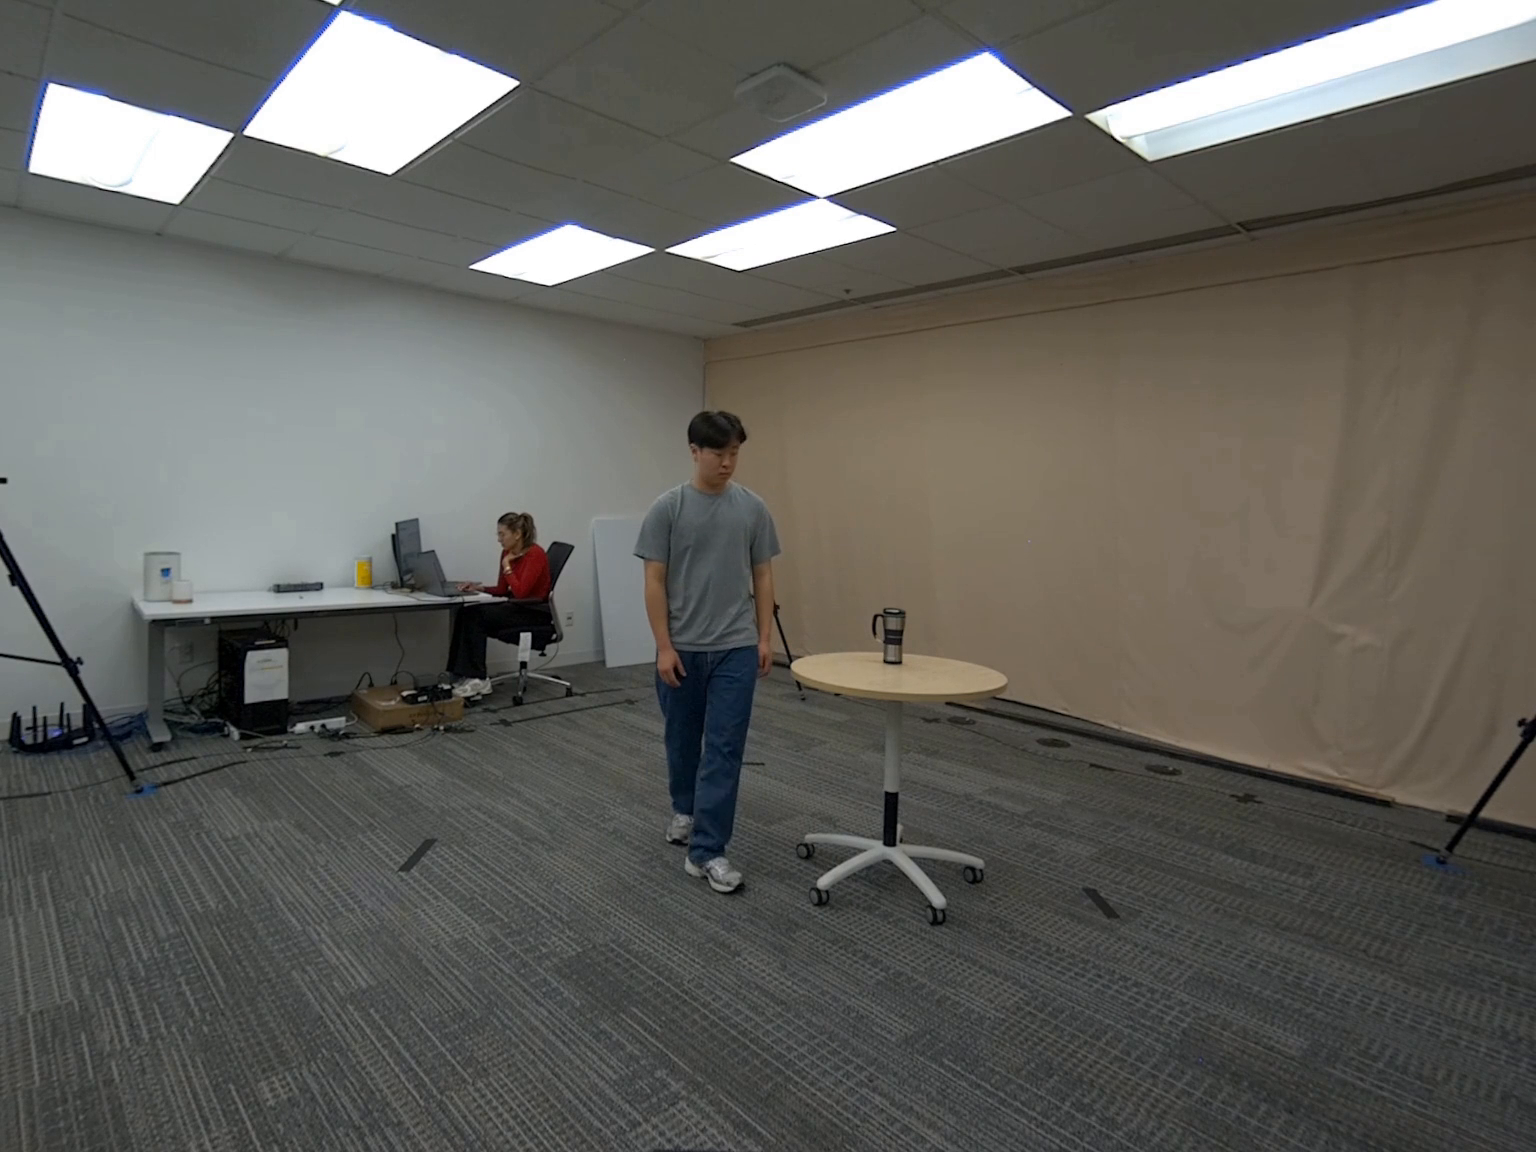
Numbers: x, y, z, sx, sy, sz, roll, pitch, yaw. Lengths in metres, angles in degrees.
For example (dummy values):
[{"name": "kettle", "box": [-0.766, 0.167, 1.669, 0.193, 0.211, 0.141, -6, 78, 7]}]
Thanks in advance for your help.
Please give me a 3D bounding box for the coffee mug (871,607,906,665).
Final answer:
[{"name": "coffee mug", "box": [0.457, 0.230, 3.213, 0.086, 0.202, 0.125, -8, 12, -43]}]
